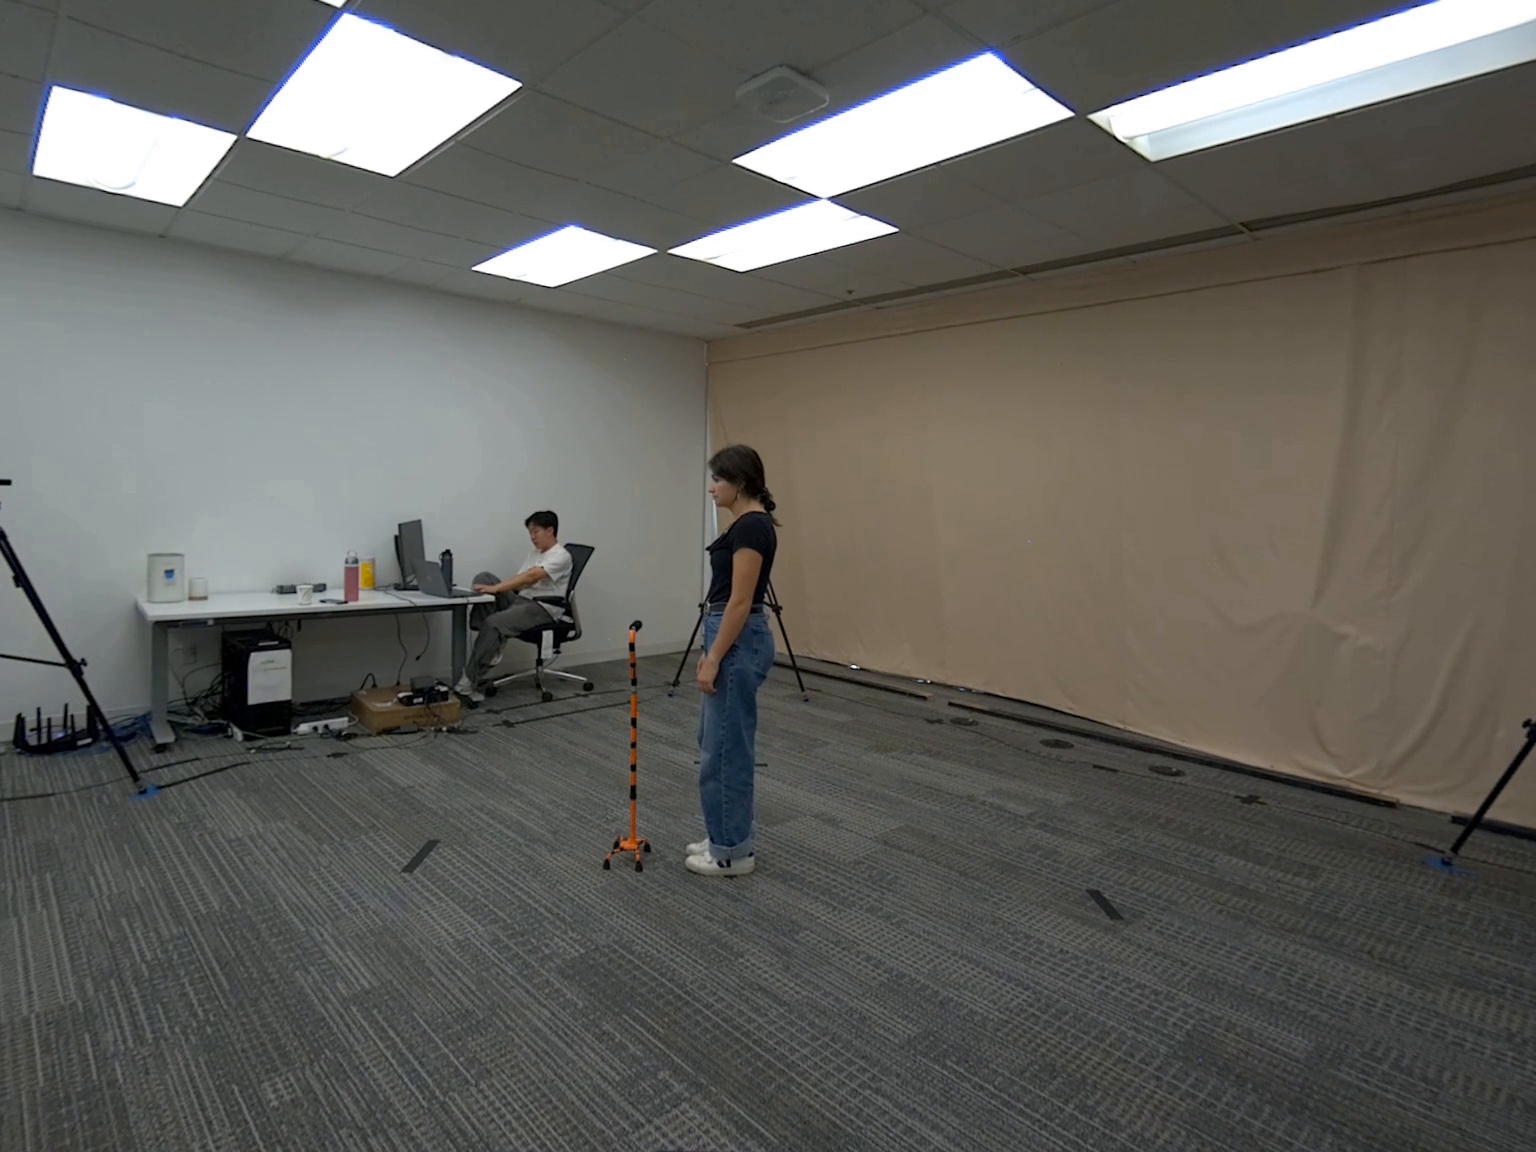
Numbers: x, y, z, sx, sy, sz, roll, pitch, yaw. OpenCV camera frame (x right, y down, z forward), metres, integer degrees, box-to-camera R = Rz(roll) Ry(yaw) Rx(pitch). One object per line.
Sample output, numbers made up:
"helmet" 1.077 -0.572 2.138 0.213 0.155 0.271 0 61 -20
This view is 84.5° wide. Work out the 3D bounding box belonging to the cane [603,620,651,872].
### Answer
"cane" -0.530 0.632 3.204 0.152 0.906 0.206 1 3 1
